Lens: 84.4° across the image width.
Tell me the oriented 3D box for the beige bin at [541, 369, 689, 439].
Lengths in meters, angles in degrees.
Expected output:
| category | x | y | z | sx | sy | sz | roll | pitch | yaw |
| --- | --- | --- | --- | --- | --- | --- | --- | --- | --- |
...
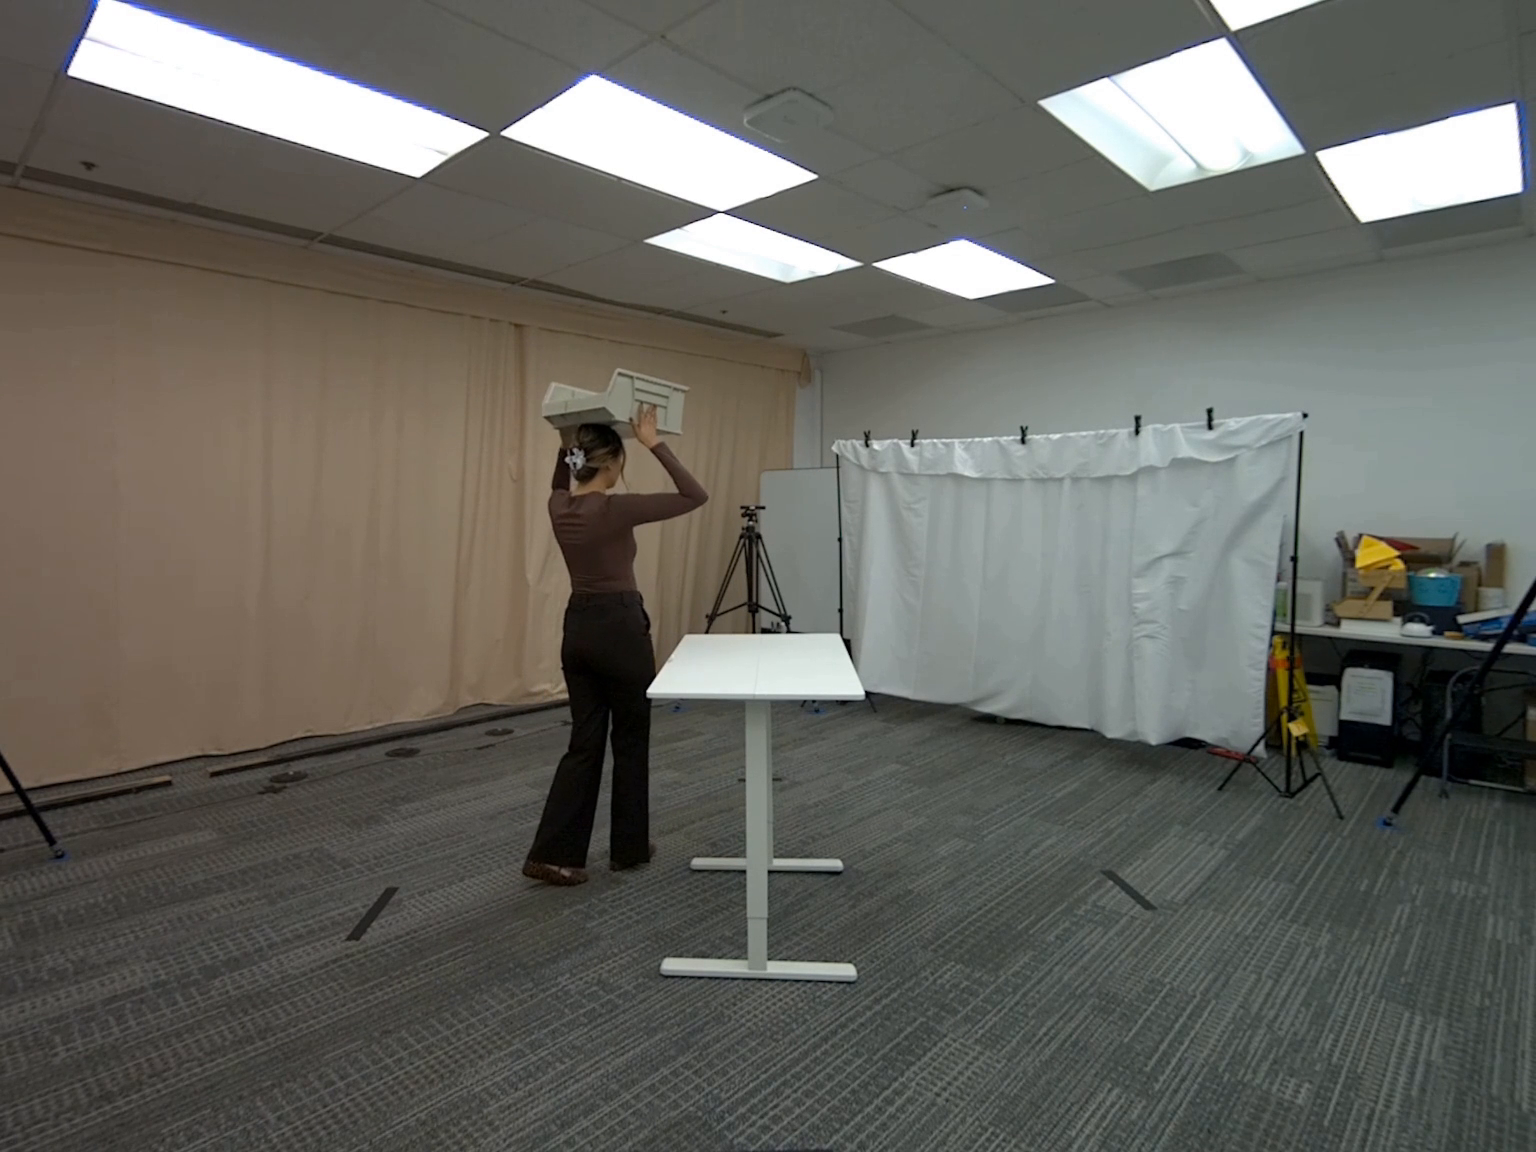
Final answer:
| category | x | y | z | sx | sy | sz | roll | pitch | yaw |
| --- | --- | --- | --- | --- | --- | --- | --- | --- | --- |
| beige bin | -0.579 | -0.638 | 3.183 | 0.436 | 0.189 | 0.364 | 3 | -2 | 44 |
